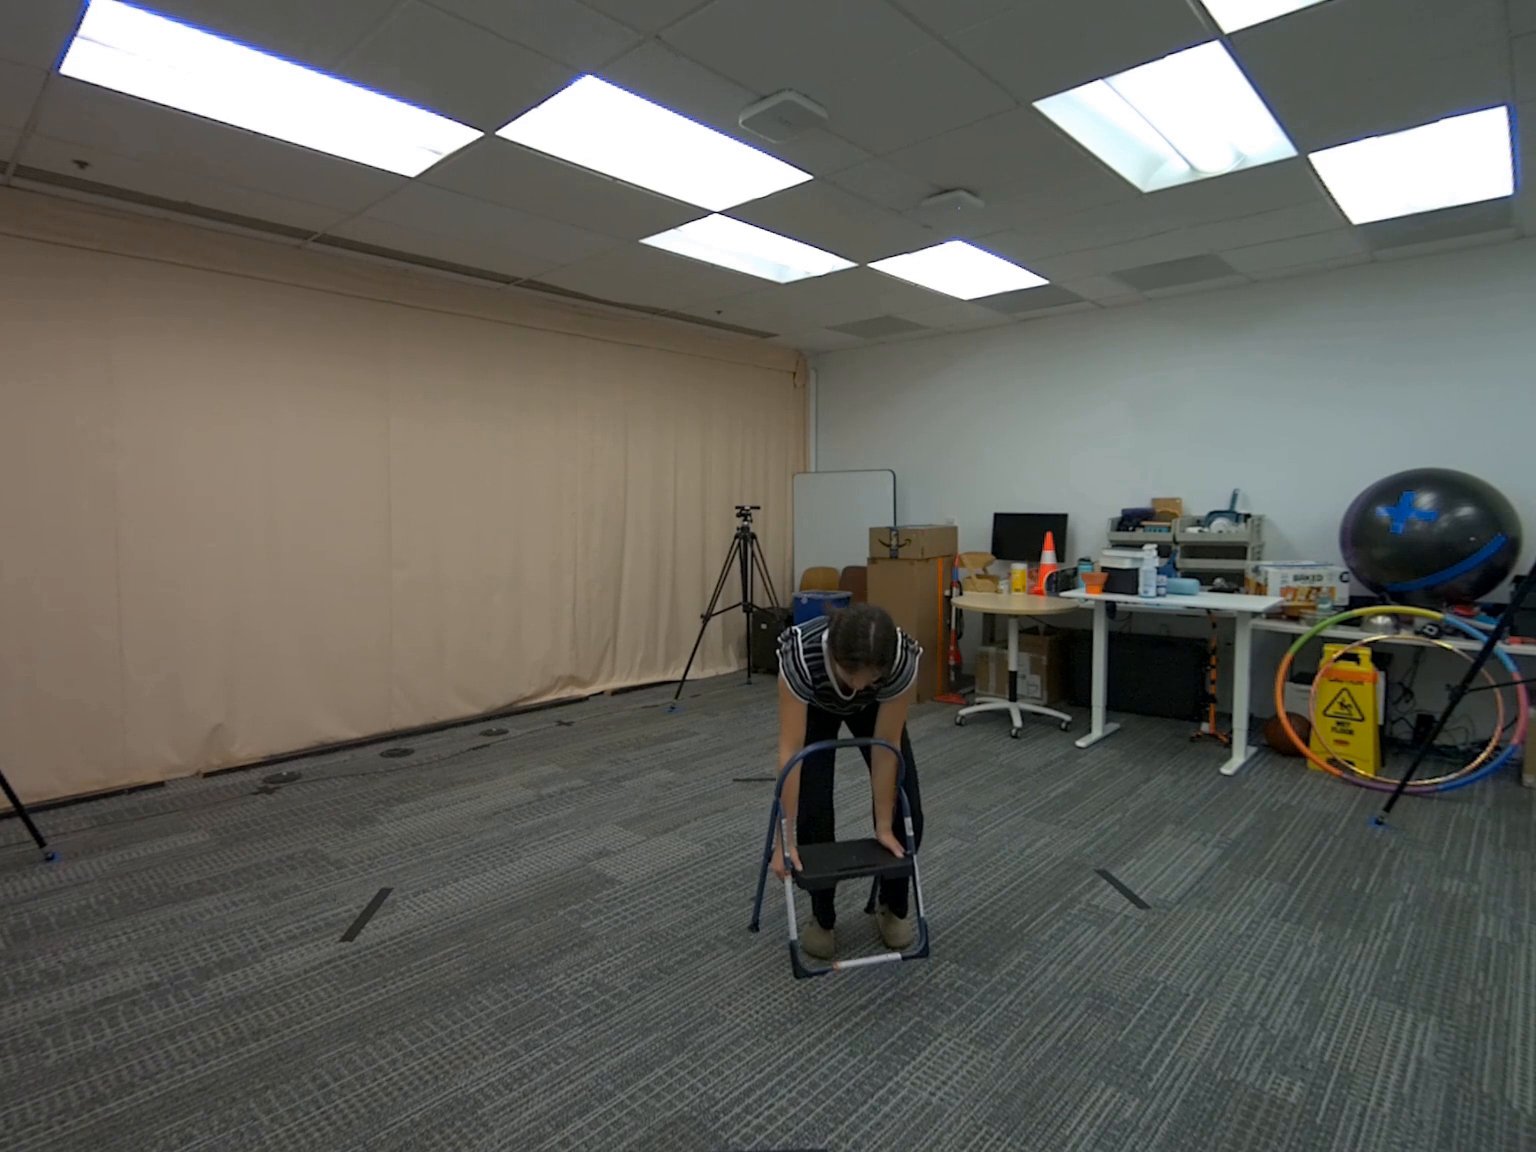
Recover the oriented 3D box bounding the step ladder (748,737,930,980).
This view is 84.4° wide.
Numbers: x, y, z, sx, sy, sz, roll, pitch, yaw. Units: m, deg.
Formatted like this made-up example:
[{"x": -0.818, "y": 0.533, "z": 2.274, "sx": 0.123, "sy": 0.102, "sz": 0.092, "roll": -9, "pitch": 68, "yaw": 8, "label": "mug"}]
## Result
[{"x": 0.200, "y": 0.758, "z": 2.453, "sx": 0.421, "sy": 0.606, "sz": 0.357, "roll": 0, "pitch": 0, "yaw": -22, "label": "step ladder"}]
